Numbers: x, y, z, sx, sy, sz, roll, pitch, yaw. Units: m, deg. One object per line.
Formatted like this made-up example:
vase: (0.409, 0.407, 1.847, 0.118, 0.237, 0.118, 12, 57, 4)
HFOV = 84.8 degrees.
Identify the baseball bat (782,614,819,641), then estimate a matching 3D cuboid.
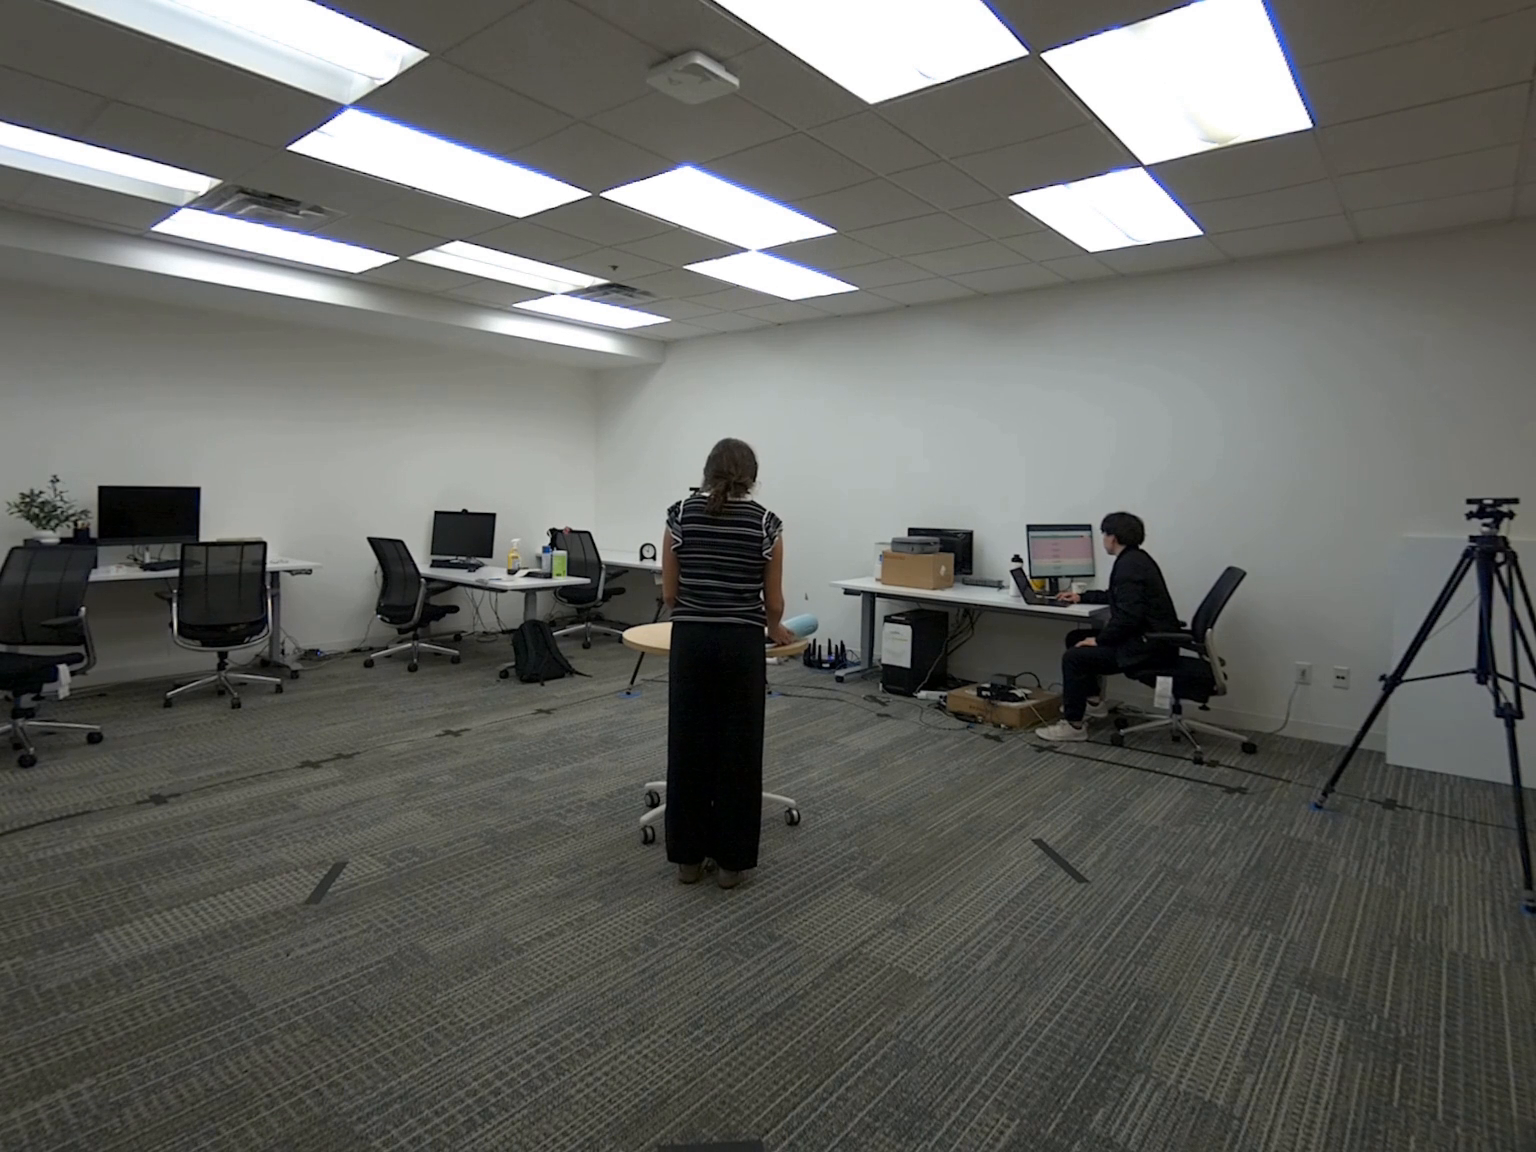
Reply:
baseball bat: (0.021, 0.235, 3.331, 0.092, 0.088, 0.530, 4, 11, 34)
